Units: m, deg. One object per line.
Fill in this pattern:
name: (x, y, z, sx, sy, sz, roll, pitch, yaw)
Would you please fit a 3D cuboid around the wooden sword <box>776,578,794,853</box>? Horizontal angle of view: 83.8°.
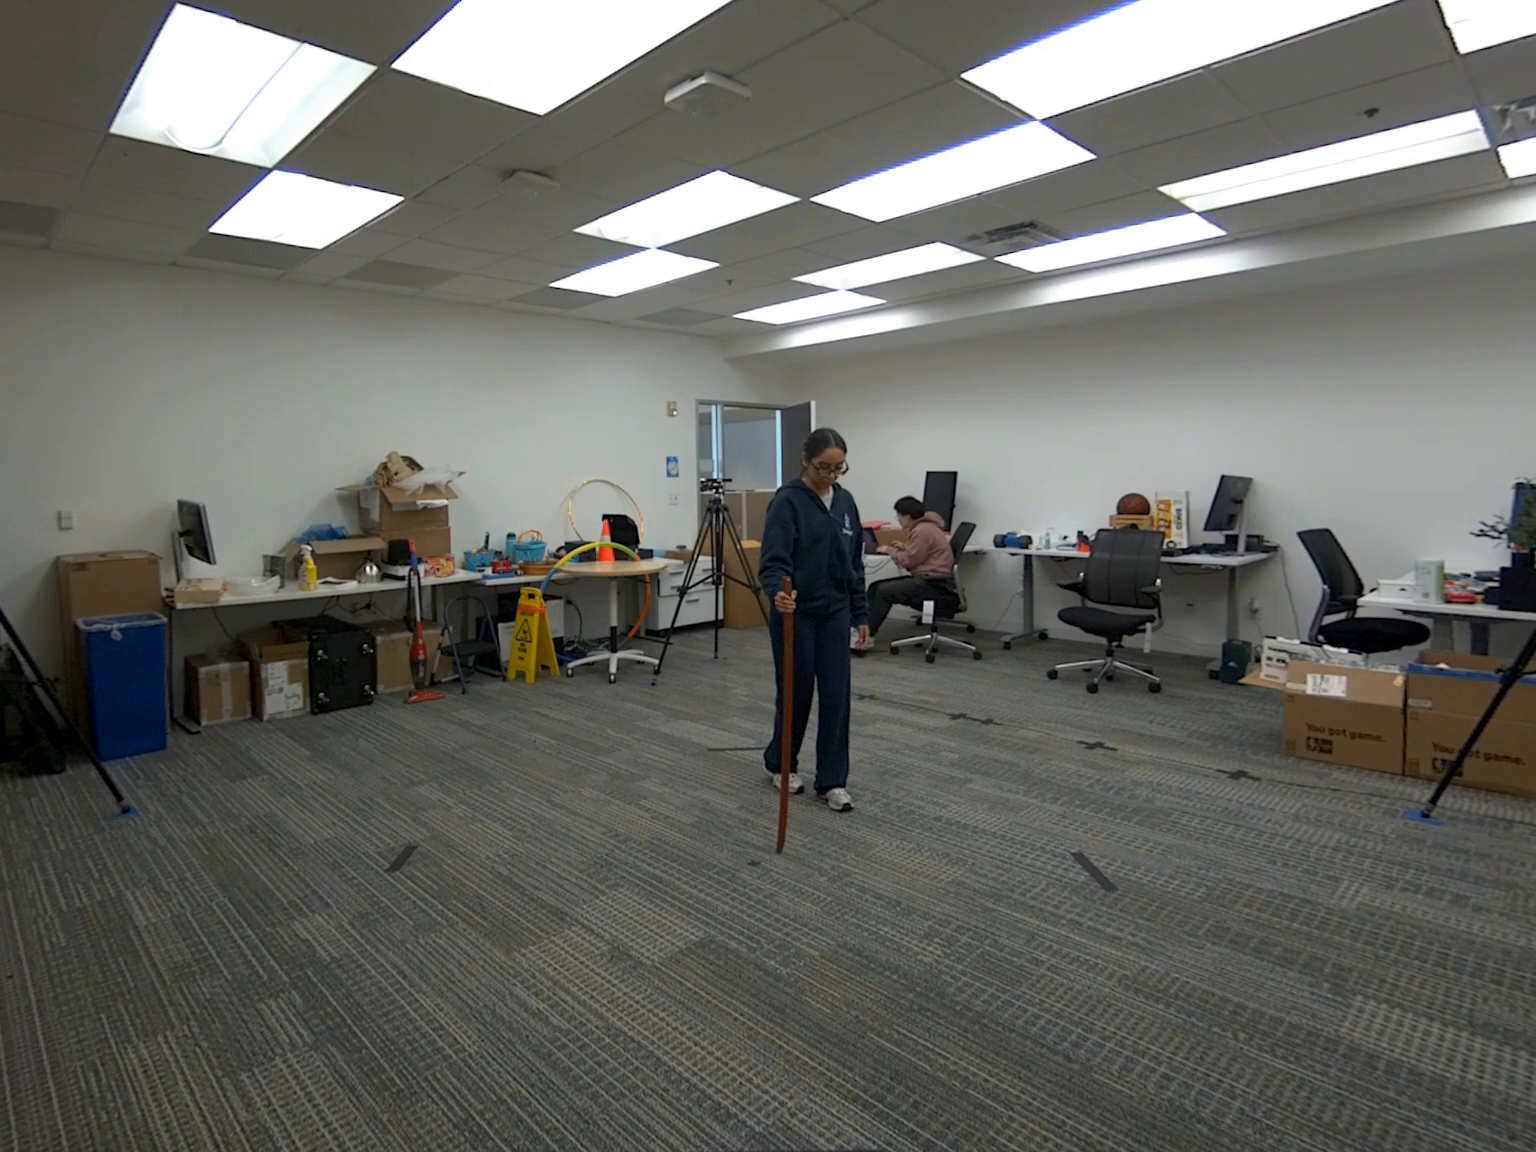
wooden sword: (0.066, 0.536, 3.206, 0.024, 1.025, 0.050, 1, 0, 17)
